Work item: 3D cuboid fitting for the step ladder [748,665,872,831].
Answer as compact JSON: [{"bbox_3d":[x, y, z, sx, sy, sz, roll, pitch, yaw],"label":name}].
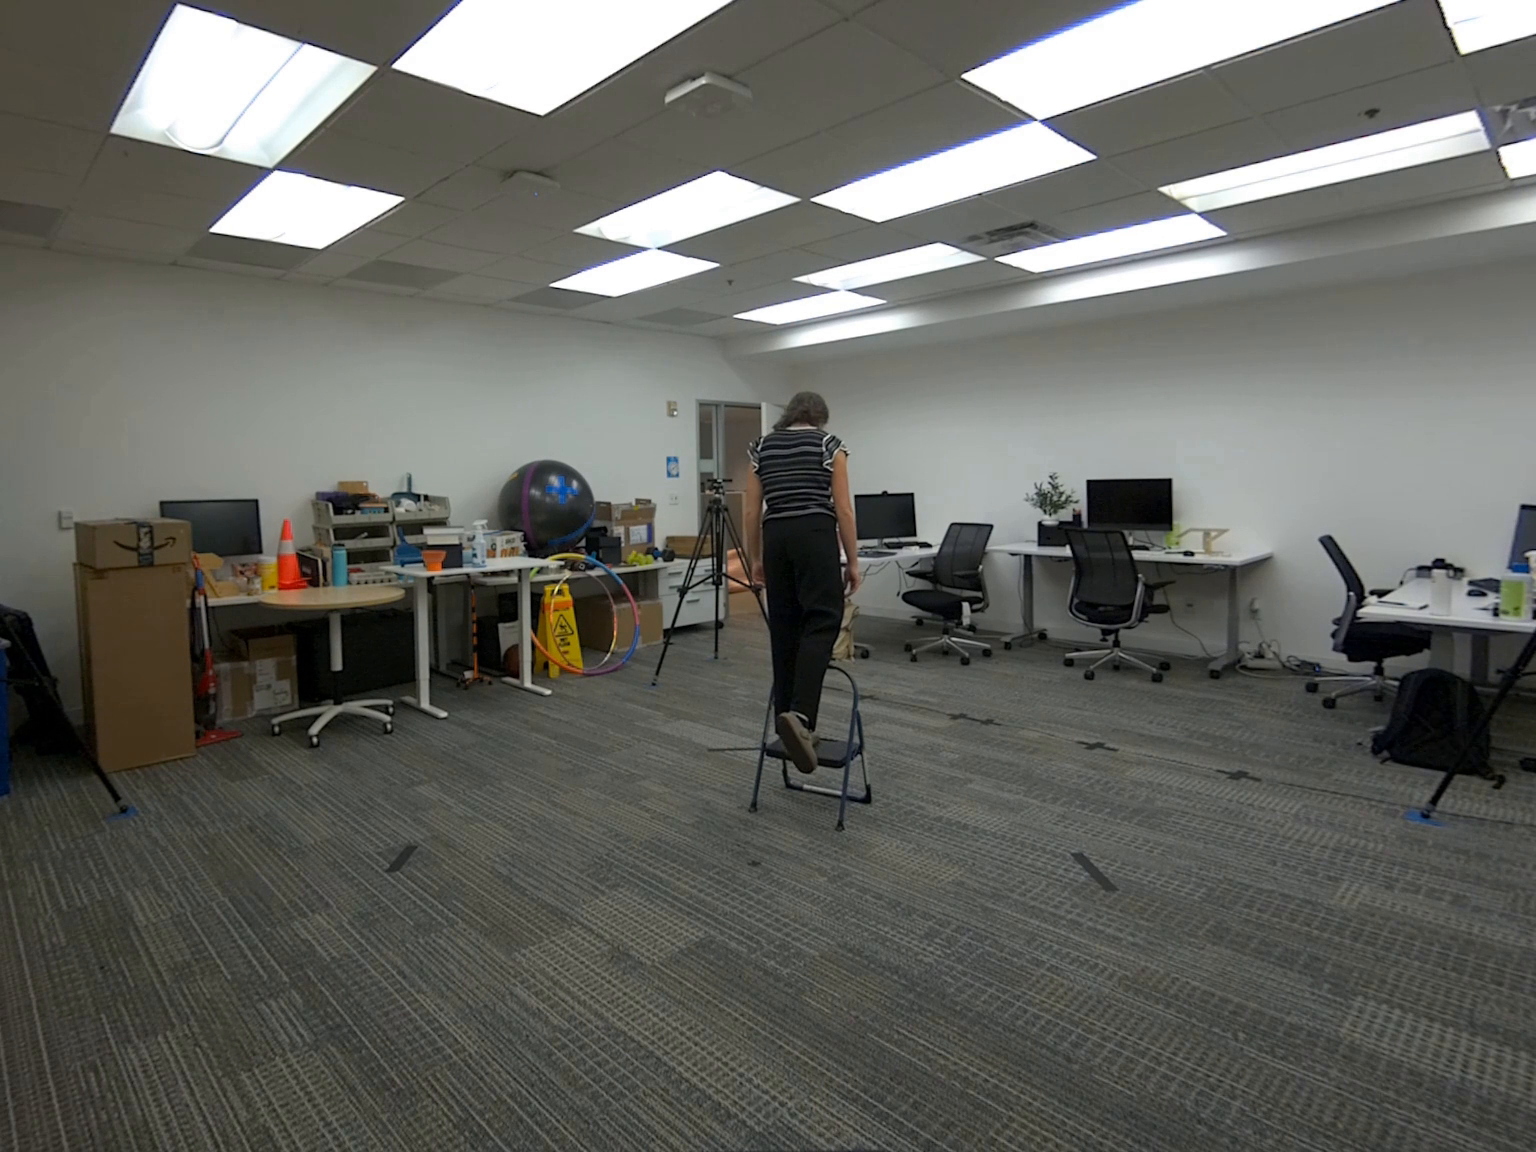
[{"bbox_3d":[0.185,0.683,3.616,0.442,0.604,0.341,2,5,30],"label":"step ladder"}]
